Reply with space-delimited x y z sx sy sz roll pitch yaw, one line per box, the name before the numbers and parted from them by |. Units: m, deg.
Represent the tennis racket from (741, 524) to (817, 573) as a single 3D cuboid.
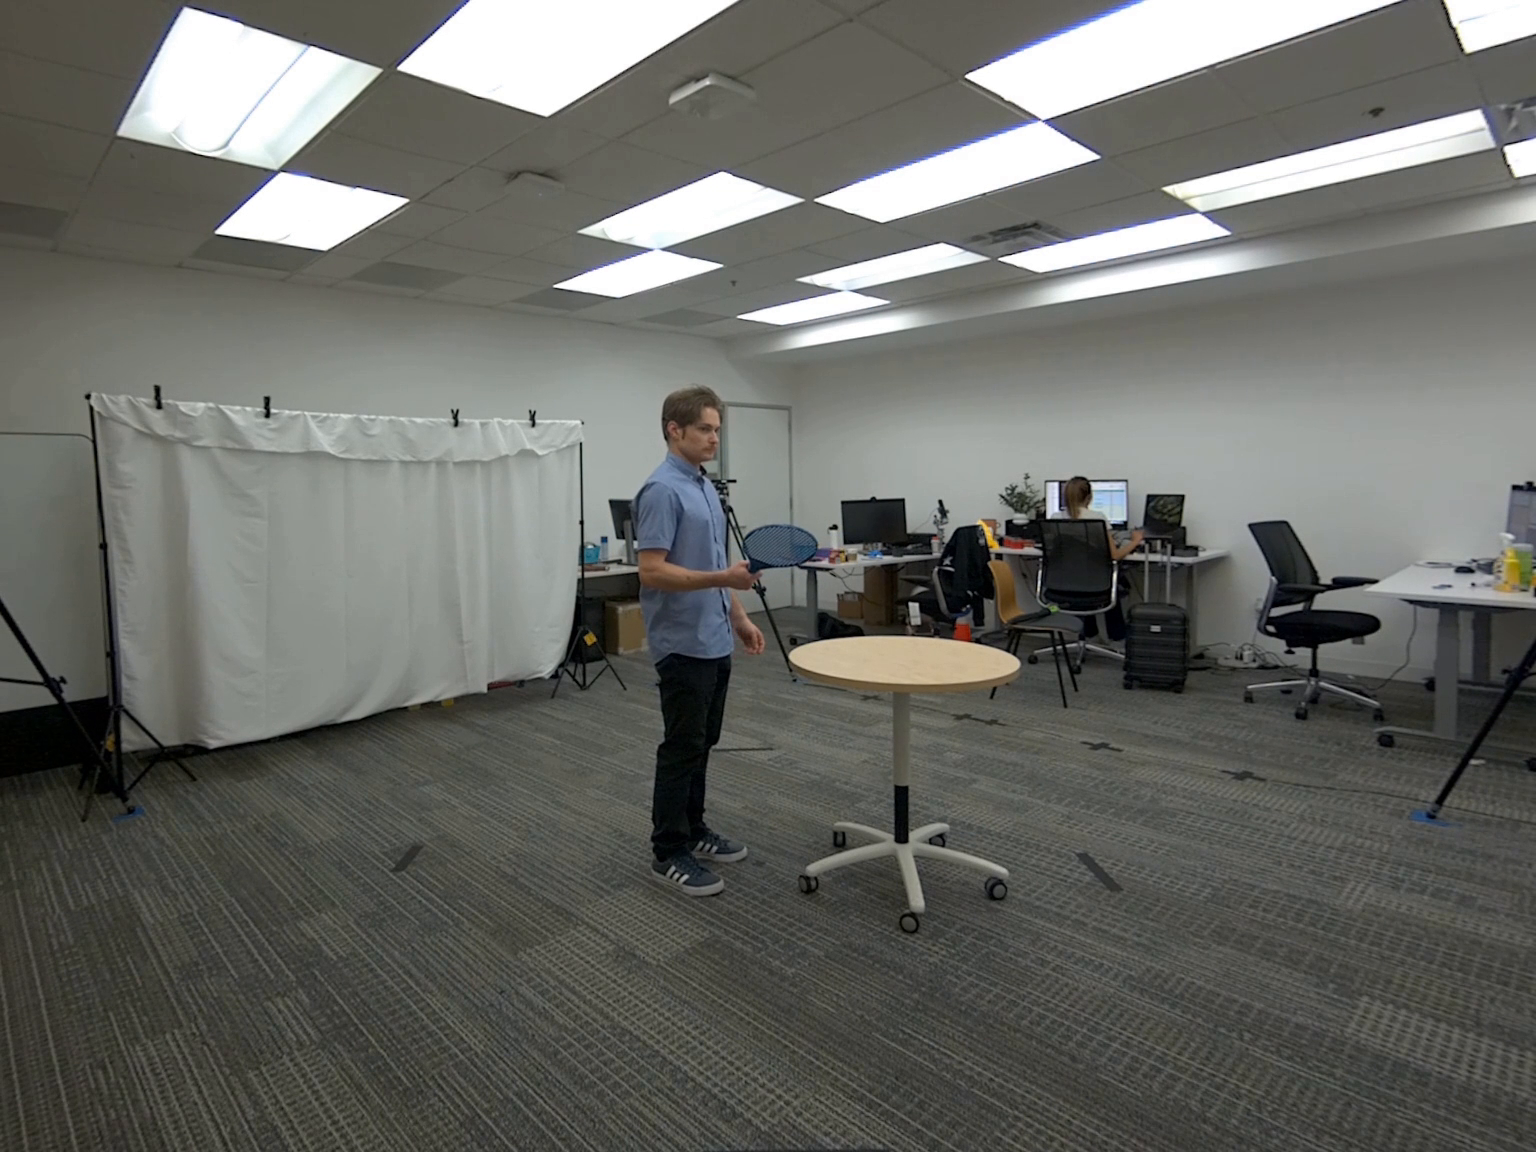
tennis racket | 0.009 -0.060 2.608 0.209 0.032 0.435 29 -31 -17
